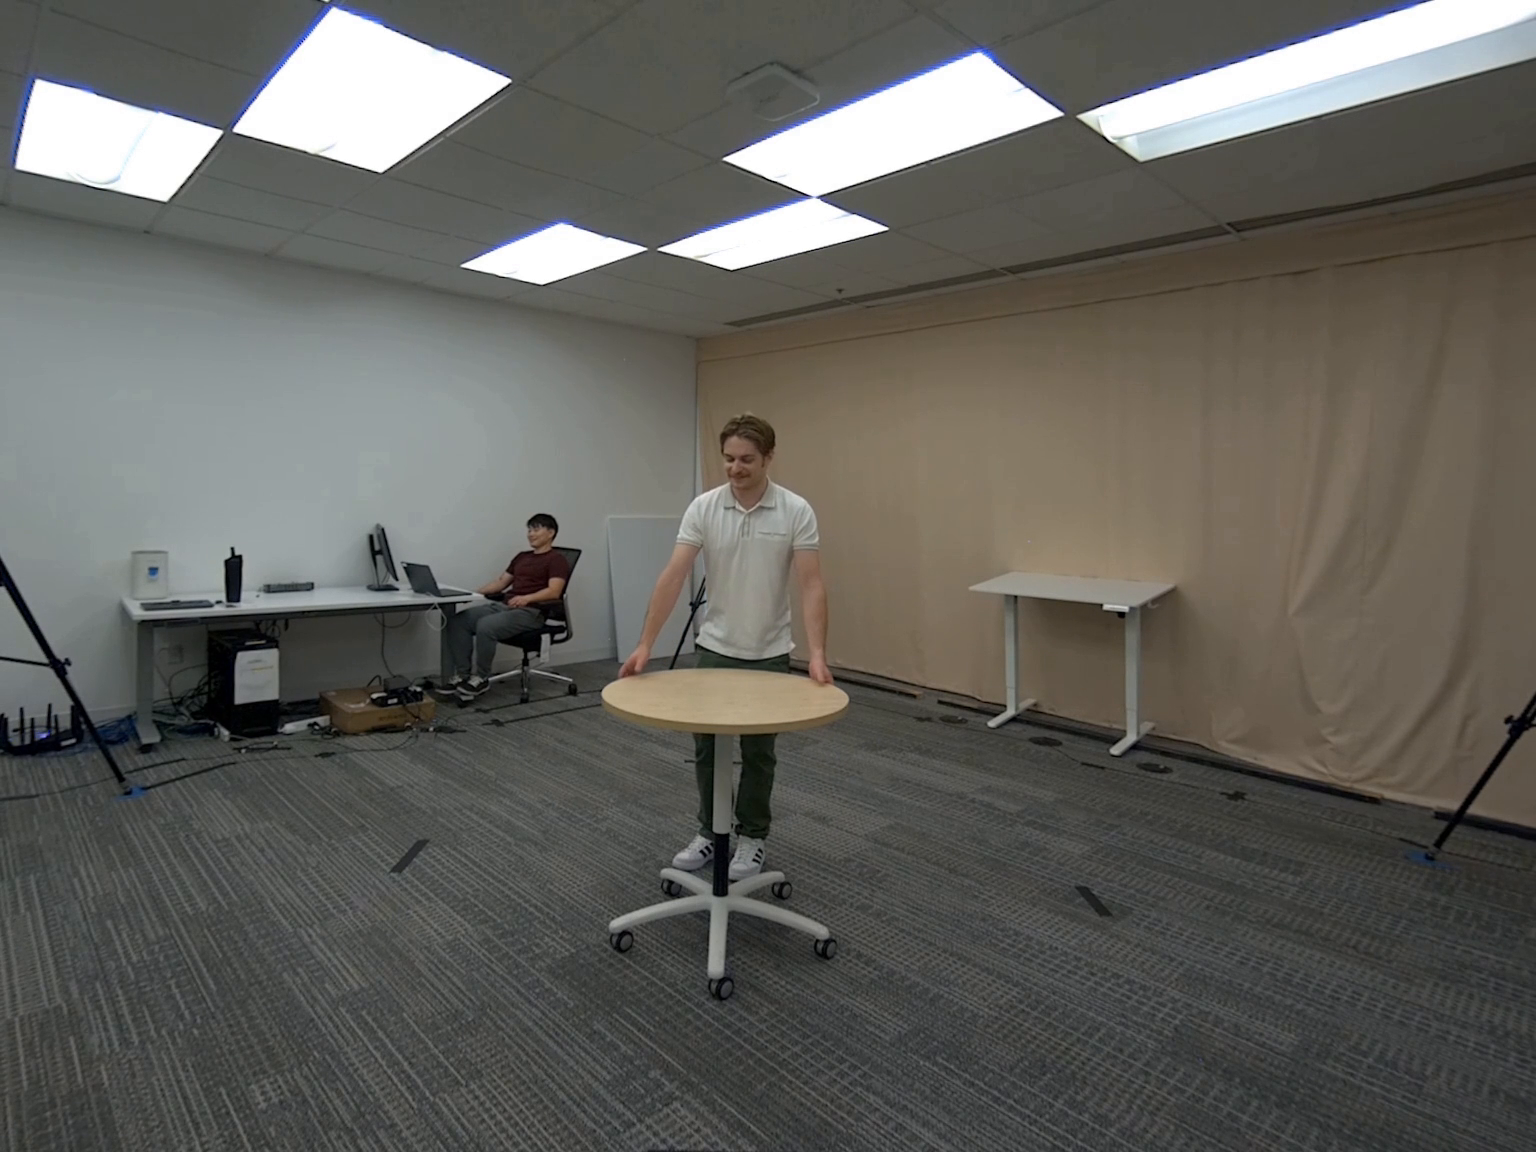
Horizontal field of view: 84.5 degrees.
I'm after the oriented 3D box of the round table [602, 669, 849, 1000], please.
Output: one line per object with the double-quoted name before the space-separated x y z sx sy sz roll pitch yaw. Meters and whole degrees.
"round table" -0.150 0.759 2.647 0.763 0.792 0.766 2 4 -1
